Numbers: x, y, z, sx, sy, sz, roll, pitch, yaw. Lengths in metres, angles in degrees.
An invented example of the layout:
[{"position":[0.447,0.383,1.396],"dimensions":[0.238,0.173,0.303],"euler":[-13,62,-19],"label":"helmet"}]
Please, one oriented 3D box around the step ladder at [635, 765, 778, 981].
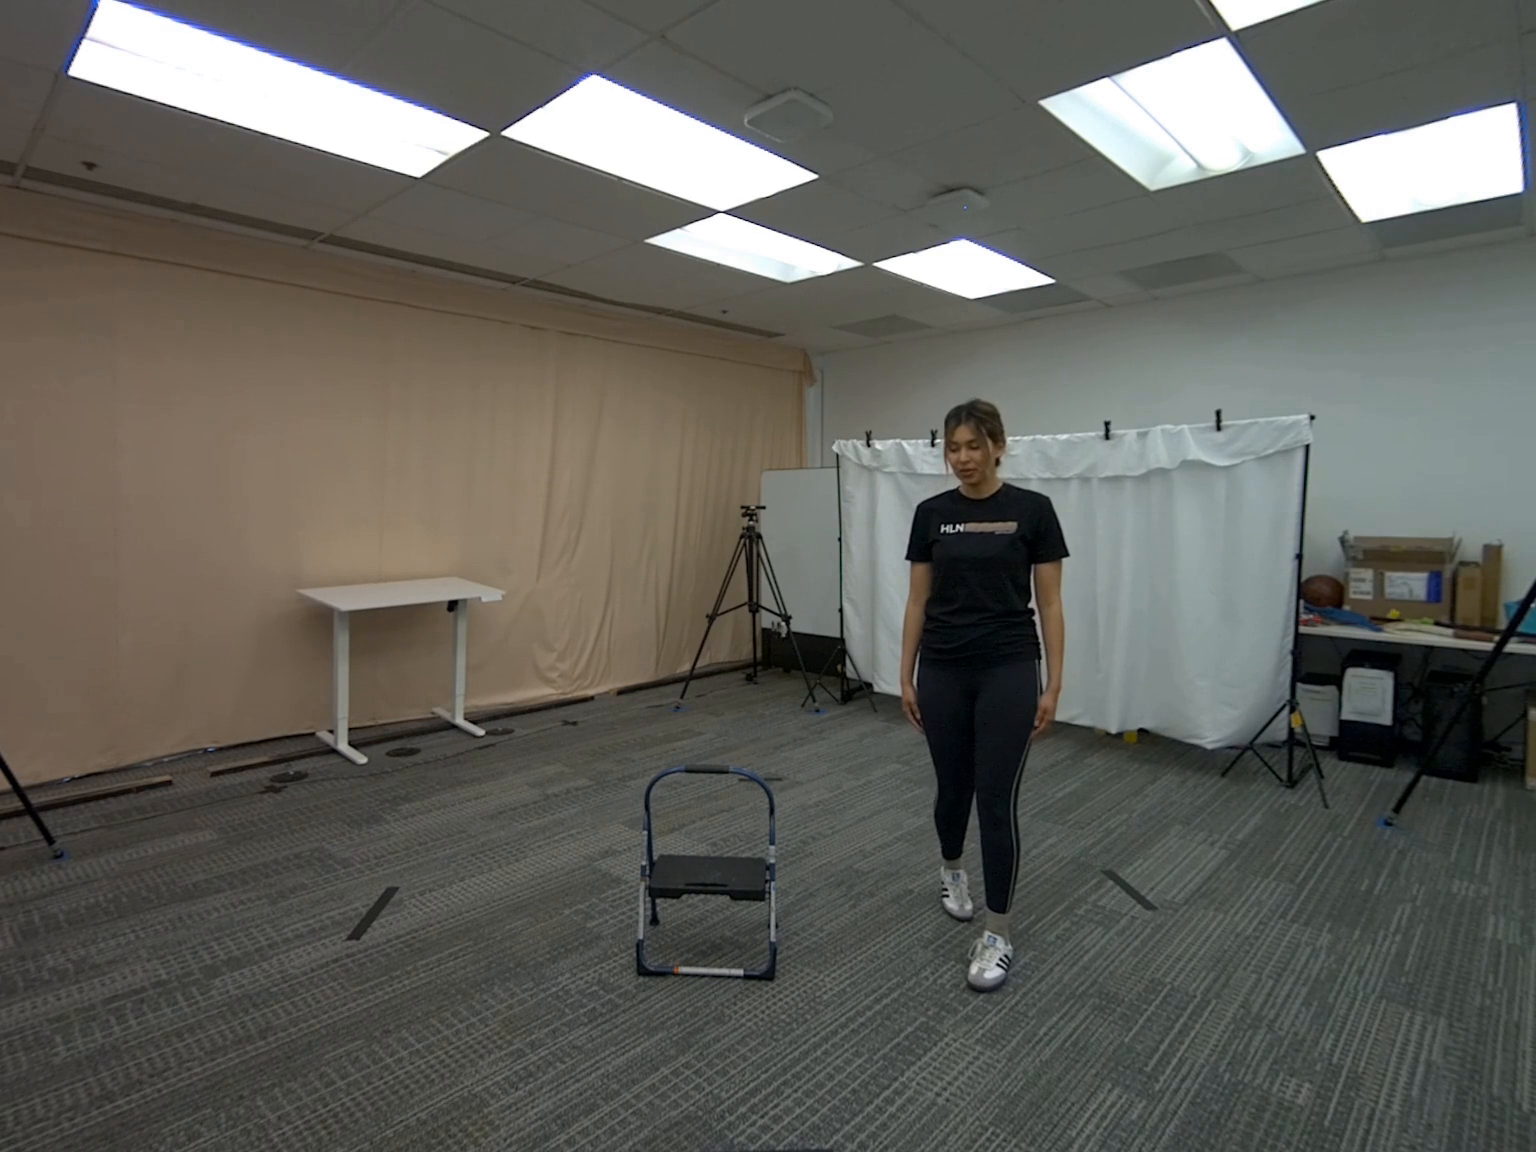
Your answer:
[{"position":[-0.182,0.877,2.636],"dimensions":[0.432,0.605,0.349],"euler":[0,2,1],"label":"step ladder"}]
